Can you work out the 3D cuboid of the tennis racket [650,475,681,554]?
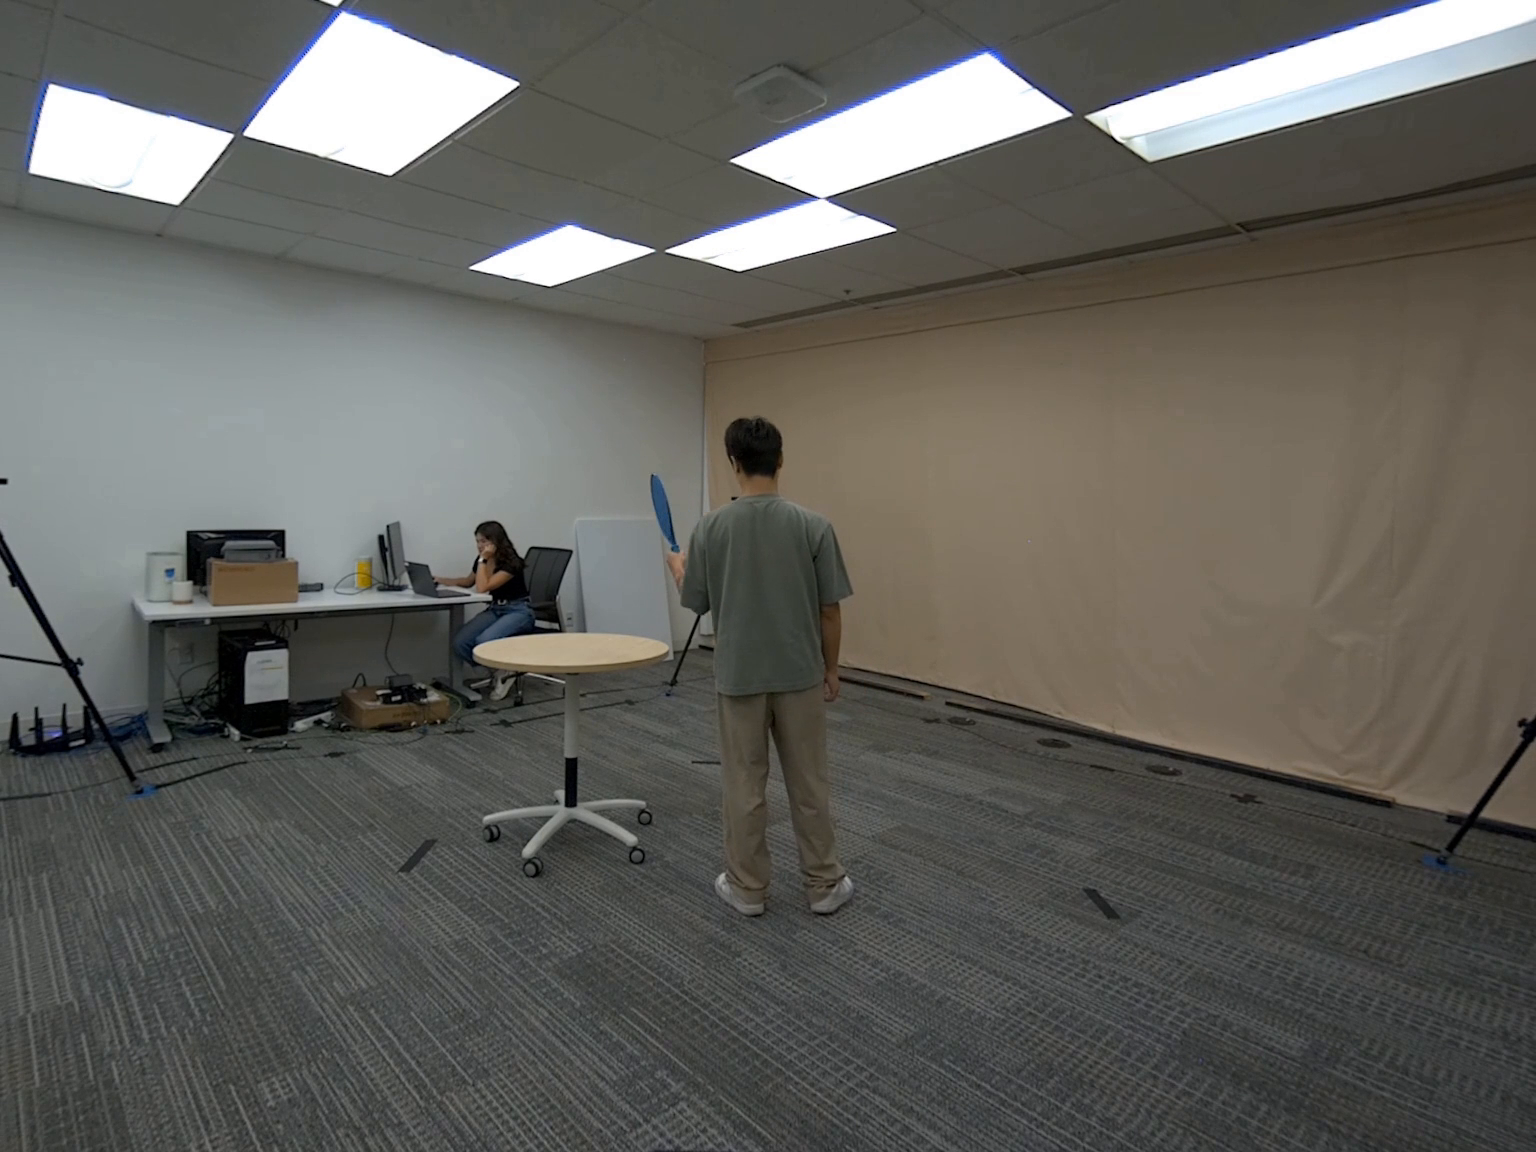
[{"bbox_3d":[-0.401,-0.192,3.192,0.031,0.441,0.212,-10,-22,-17],"label":"tennis racket"}]
